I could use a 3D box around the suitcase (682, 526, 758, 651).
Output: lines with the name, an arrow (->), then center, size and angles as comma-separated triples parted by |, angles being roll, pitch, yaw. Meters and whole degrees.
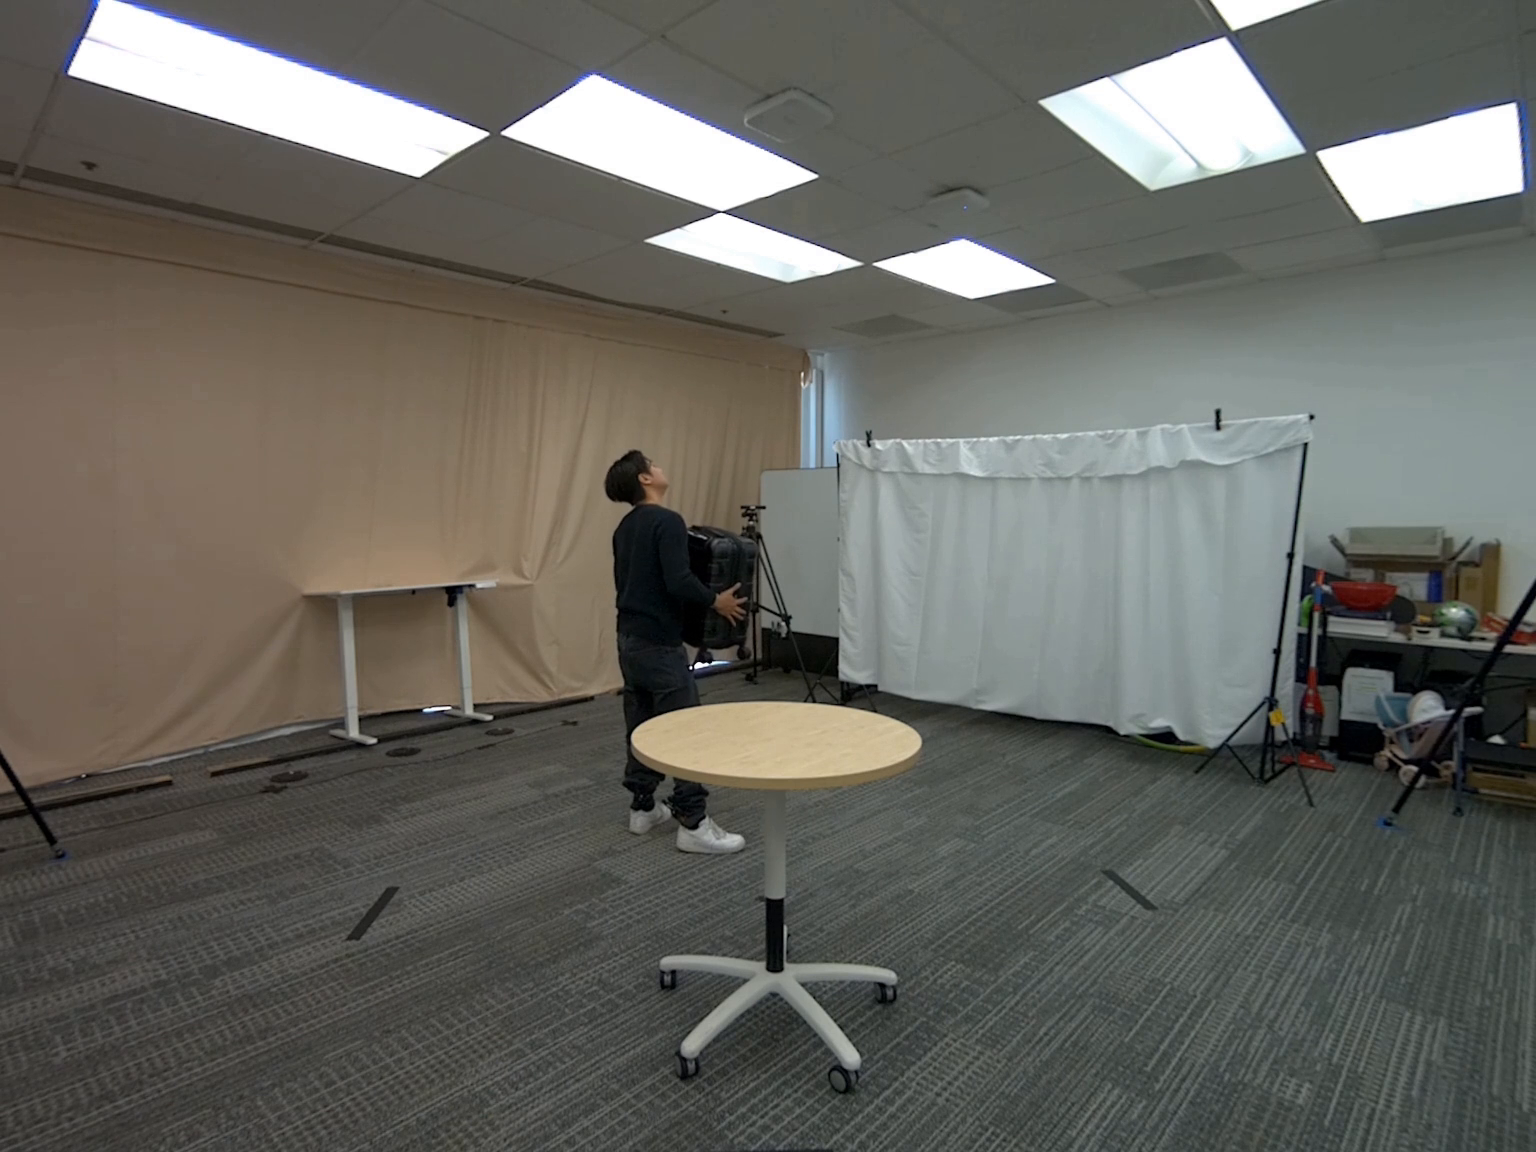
suitcase -> -0.258, 0.062, 3.725 | 0.240, 0.547, 0.389 | -1, 12, -40
